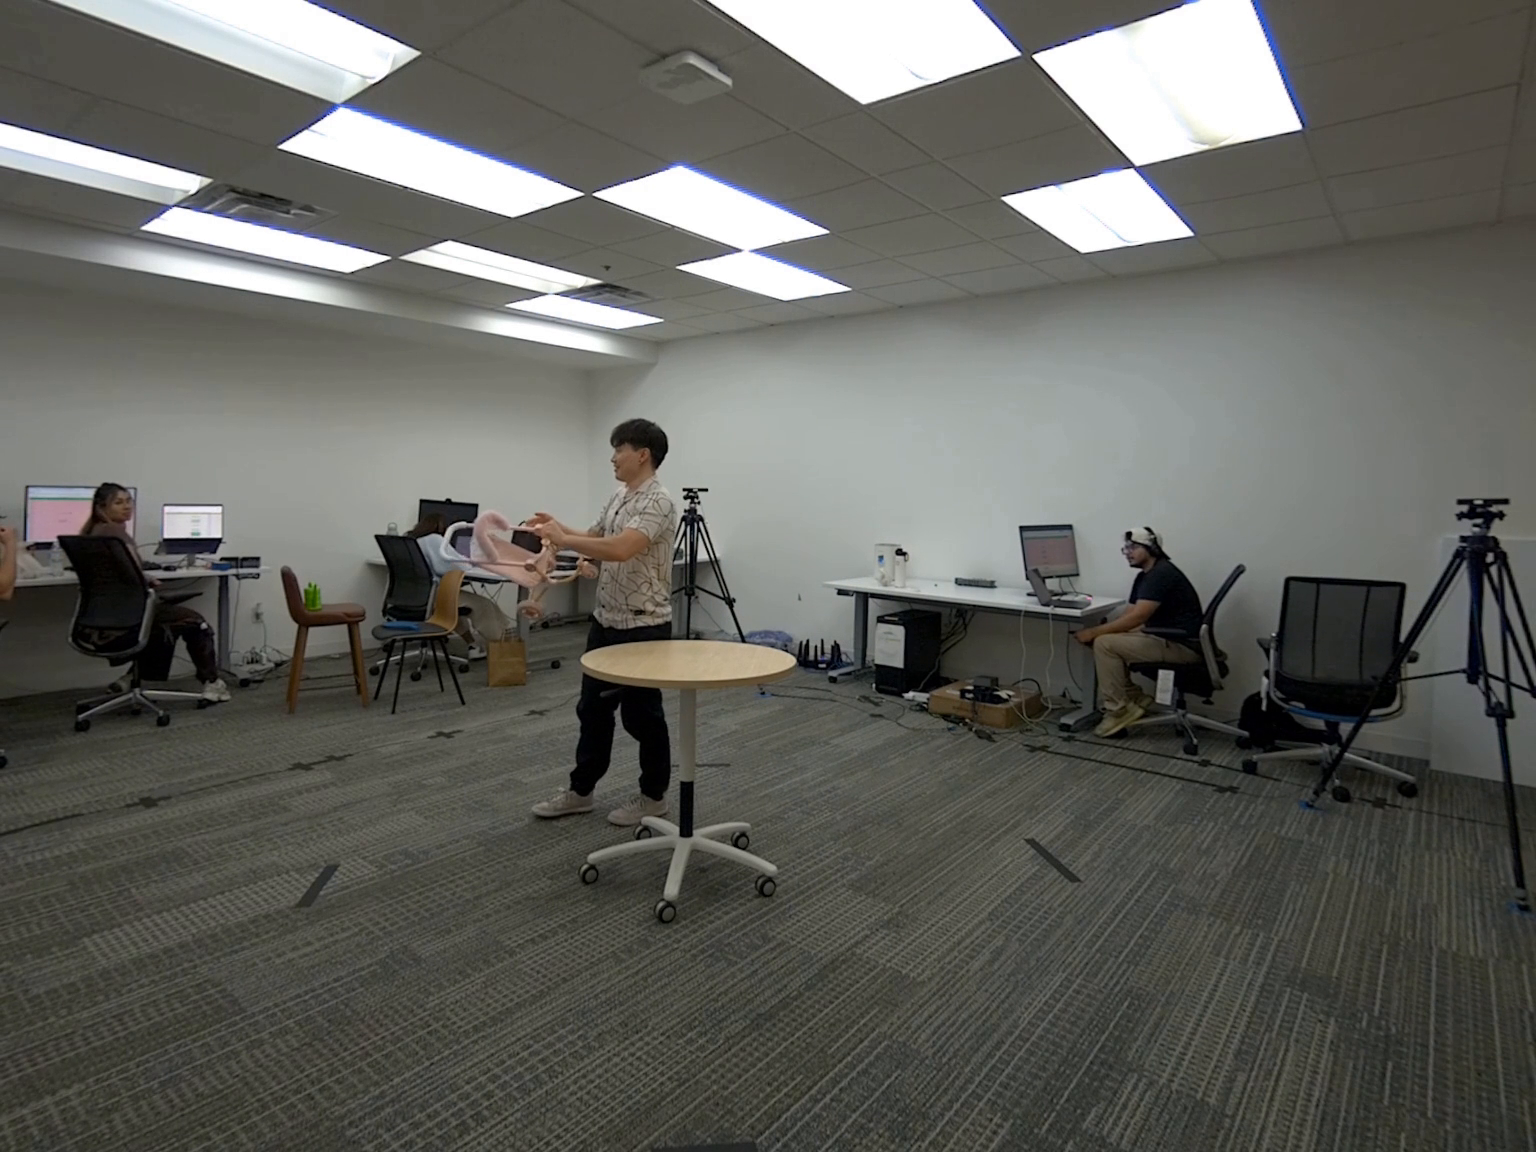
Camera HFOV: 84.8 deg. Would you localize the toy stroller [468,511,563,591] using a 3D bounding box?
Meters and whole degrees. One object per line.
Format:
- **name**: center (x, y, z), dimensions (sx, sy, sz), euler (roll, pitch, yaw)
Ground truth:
- **toy stroller**: center (-0.959, -0.077, 3.308), dimensions (0.345, 0.288, 0.516), euler (-31, -54, 34)
